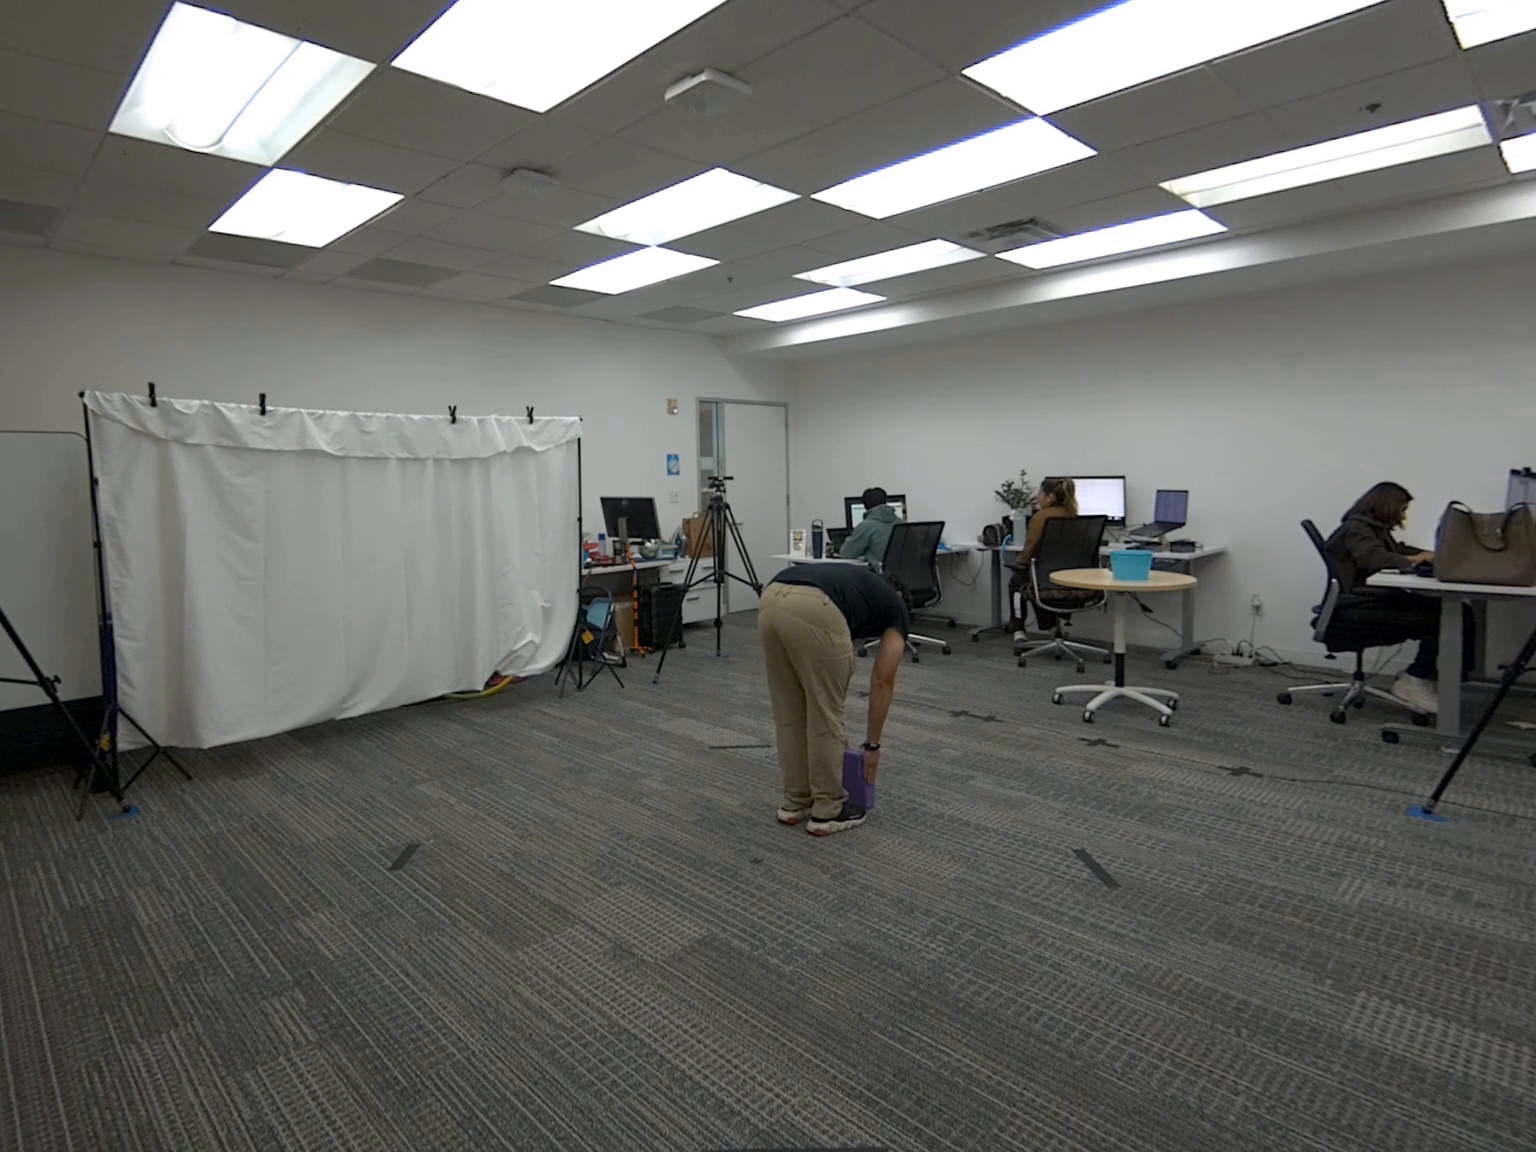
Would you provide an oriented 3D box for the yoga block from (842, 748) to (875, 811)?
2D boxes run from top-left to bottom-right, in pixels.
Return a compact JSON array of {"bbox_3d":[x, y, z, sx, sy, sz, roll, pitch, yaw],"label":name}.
[{"bbox_3d":[0.374,0.854,3.621,0.074,0.228,0.153,-3,5,-42],"label":"yoga block"}]
